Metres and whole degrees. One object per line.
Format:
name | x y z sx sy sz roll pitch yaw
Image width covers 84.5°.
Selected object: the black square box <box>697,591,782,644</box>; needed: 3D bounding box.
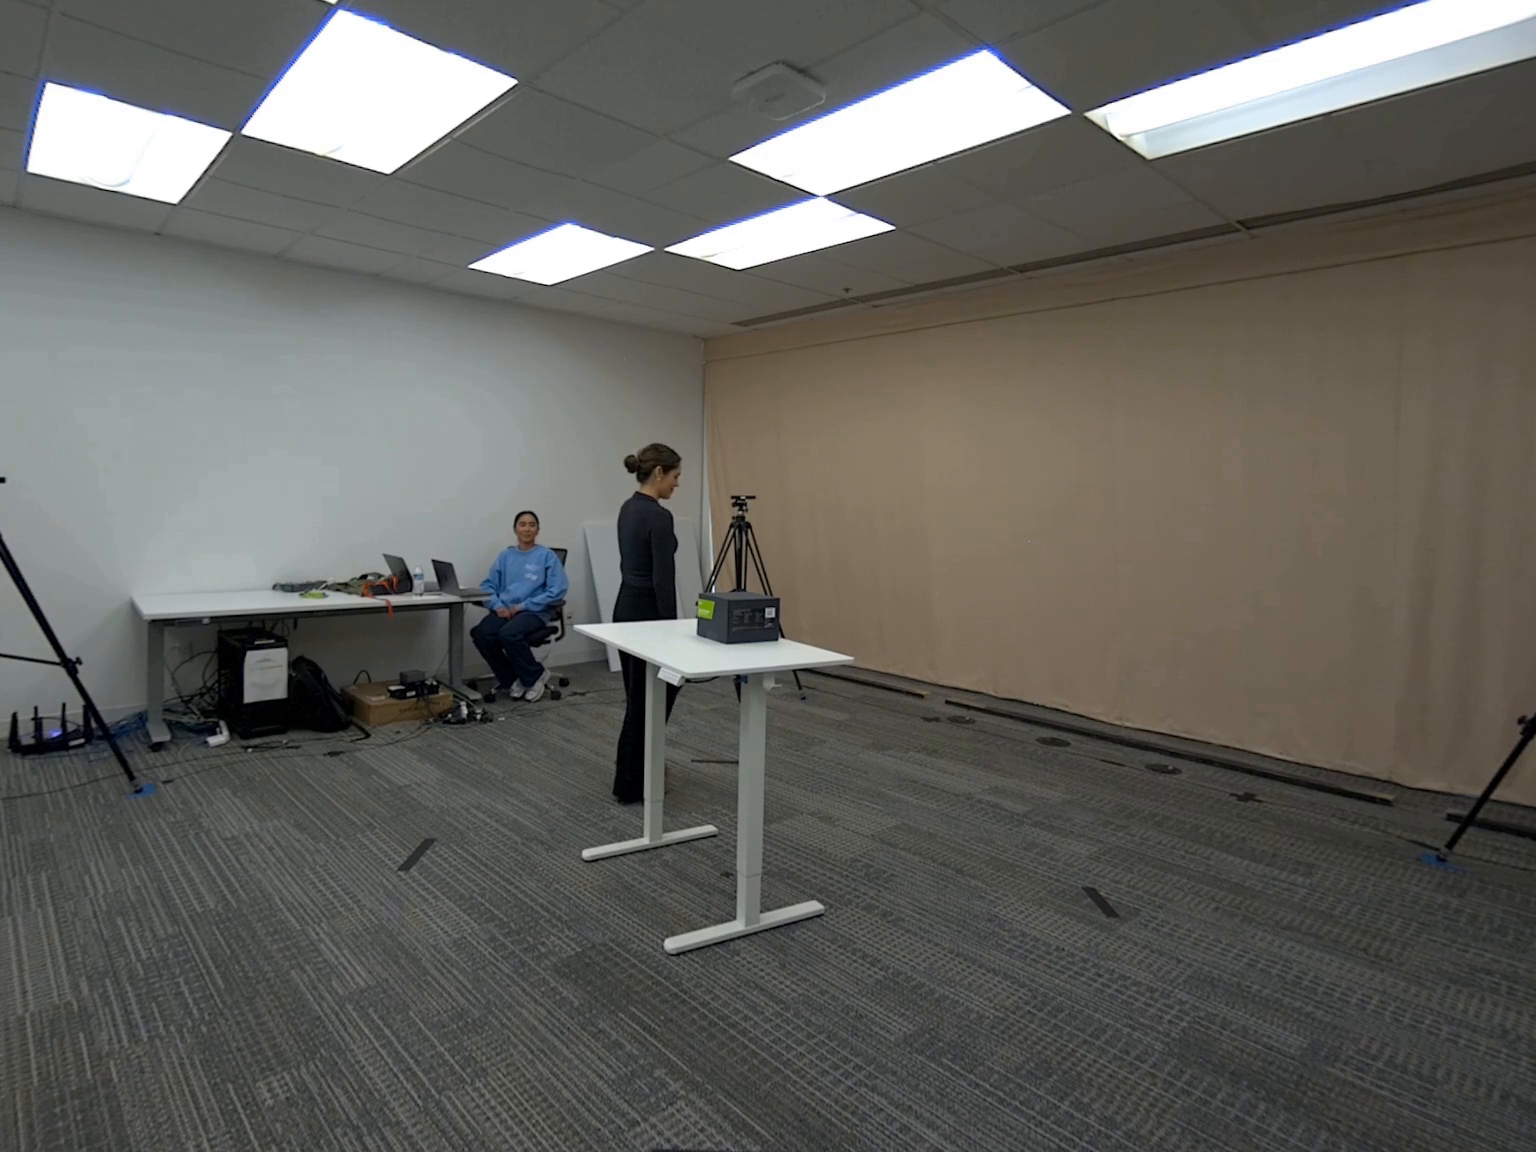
black square box | -0.116 0.148 3.047 0.212 0.155 0.233 -1 5 -31
